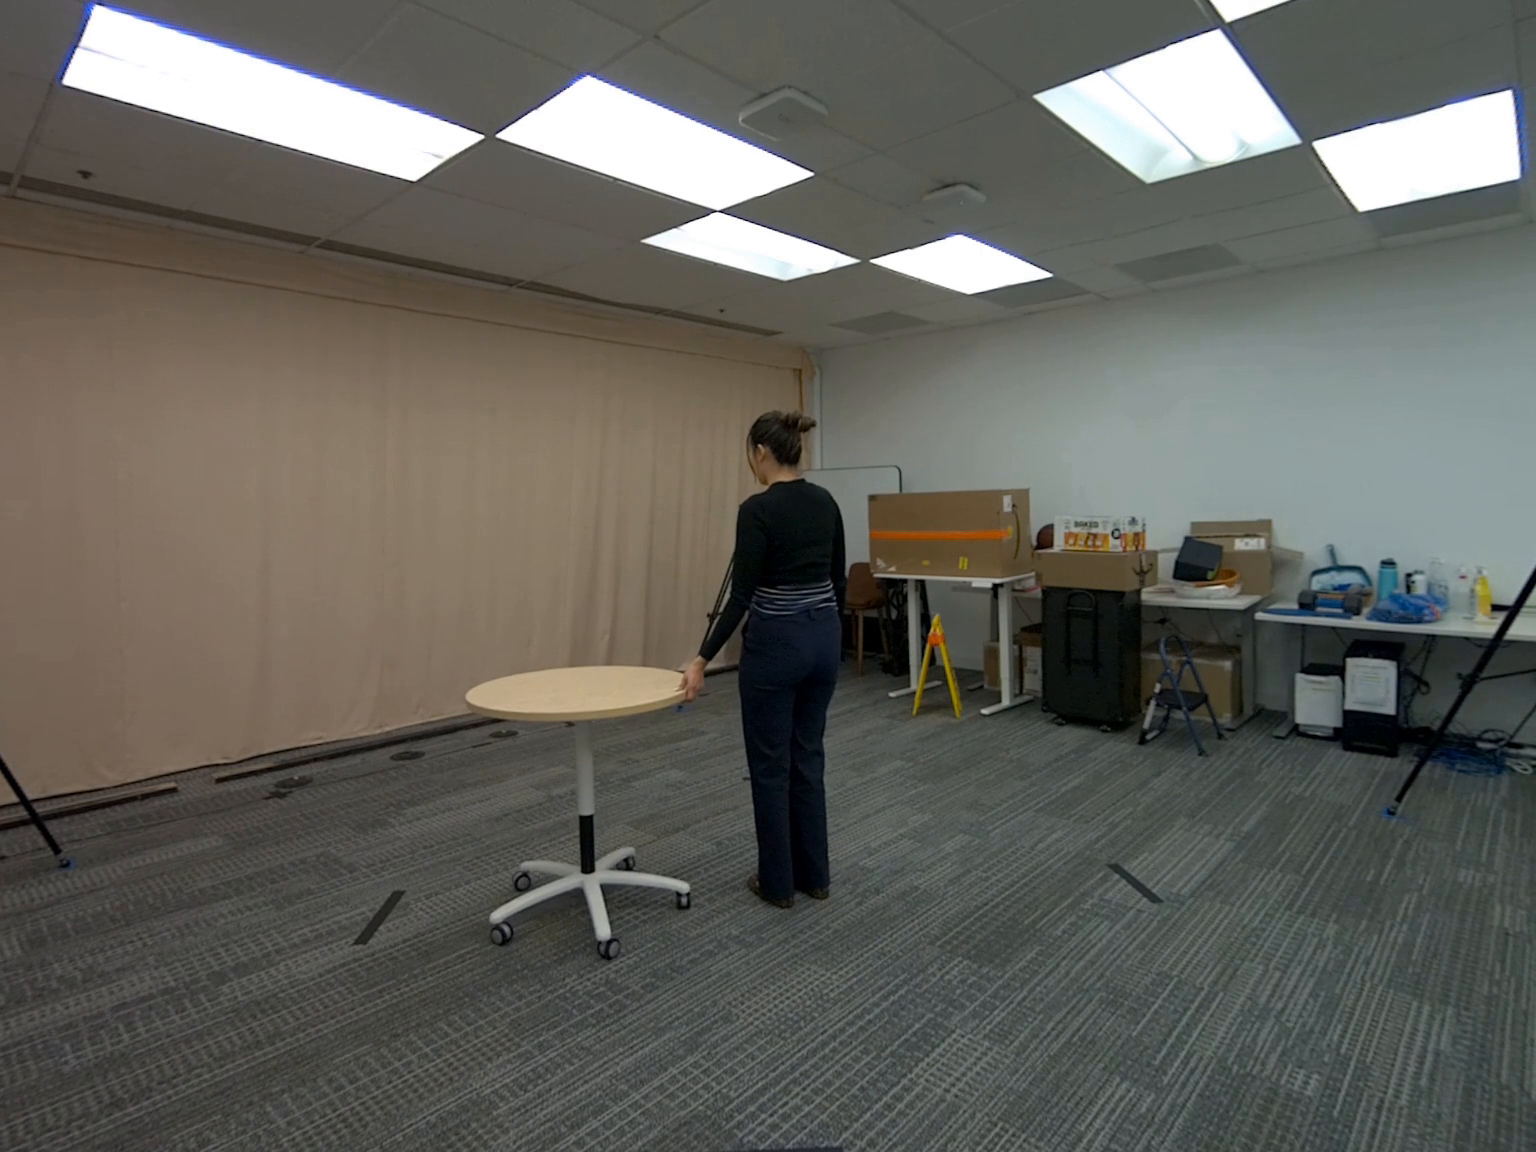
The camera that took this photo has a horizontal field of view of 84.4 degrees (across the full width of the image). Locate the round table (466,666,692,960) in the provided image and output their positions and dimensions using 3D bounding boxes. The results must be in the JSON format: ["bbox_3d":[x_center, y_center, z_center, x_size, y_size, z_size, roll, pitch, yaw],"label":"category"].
[{"bbox_3d":[-0.624,0.775,2.889,0.763,0.792,0.766,-2,3,-2],"label":"round table"}]
